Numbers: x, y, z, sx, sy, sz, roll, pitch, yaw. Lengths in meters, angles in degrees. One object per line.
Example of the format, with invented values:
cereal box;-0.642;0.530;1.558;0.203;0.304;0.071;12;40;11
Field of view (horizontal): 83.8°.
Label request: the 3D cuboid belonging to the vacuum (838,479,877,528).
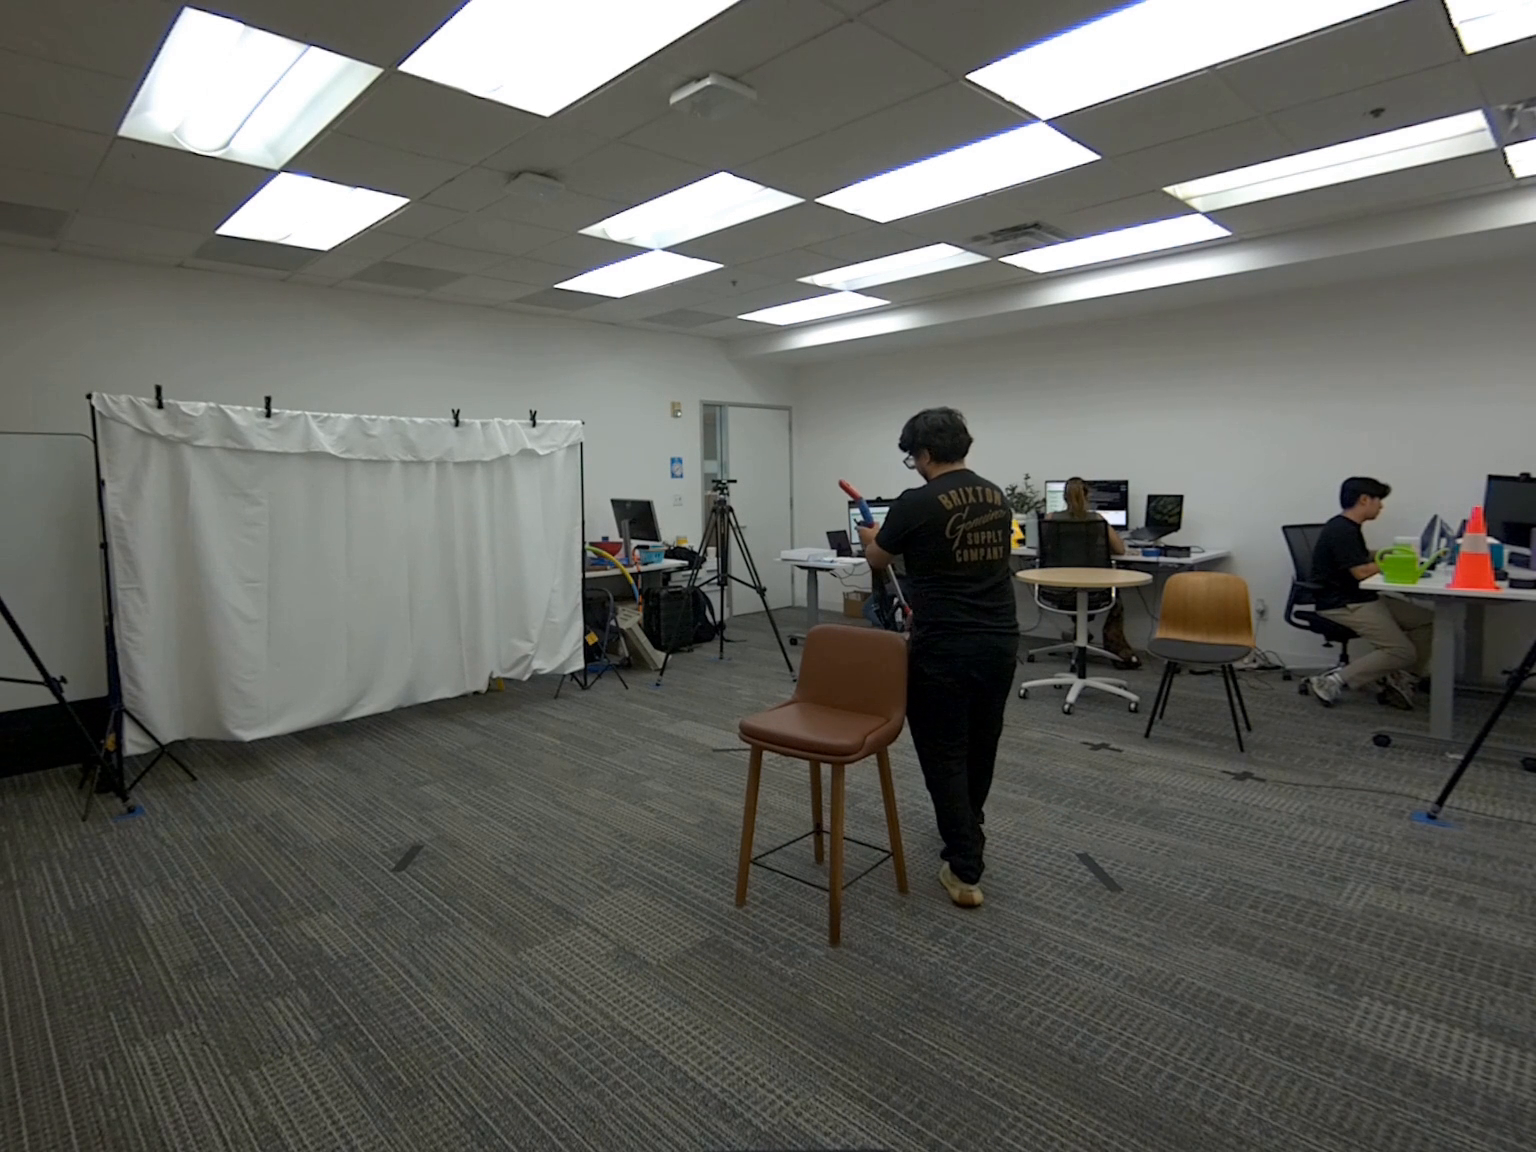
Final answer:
vacuum;0.502;0.114;3.368;0.146;1.048;0.248;-20;1;44
